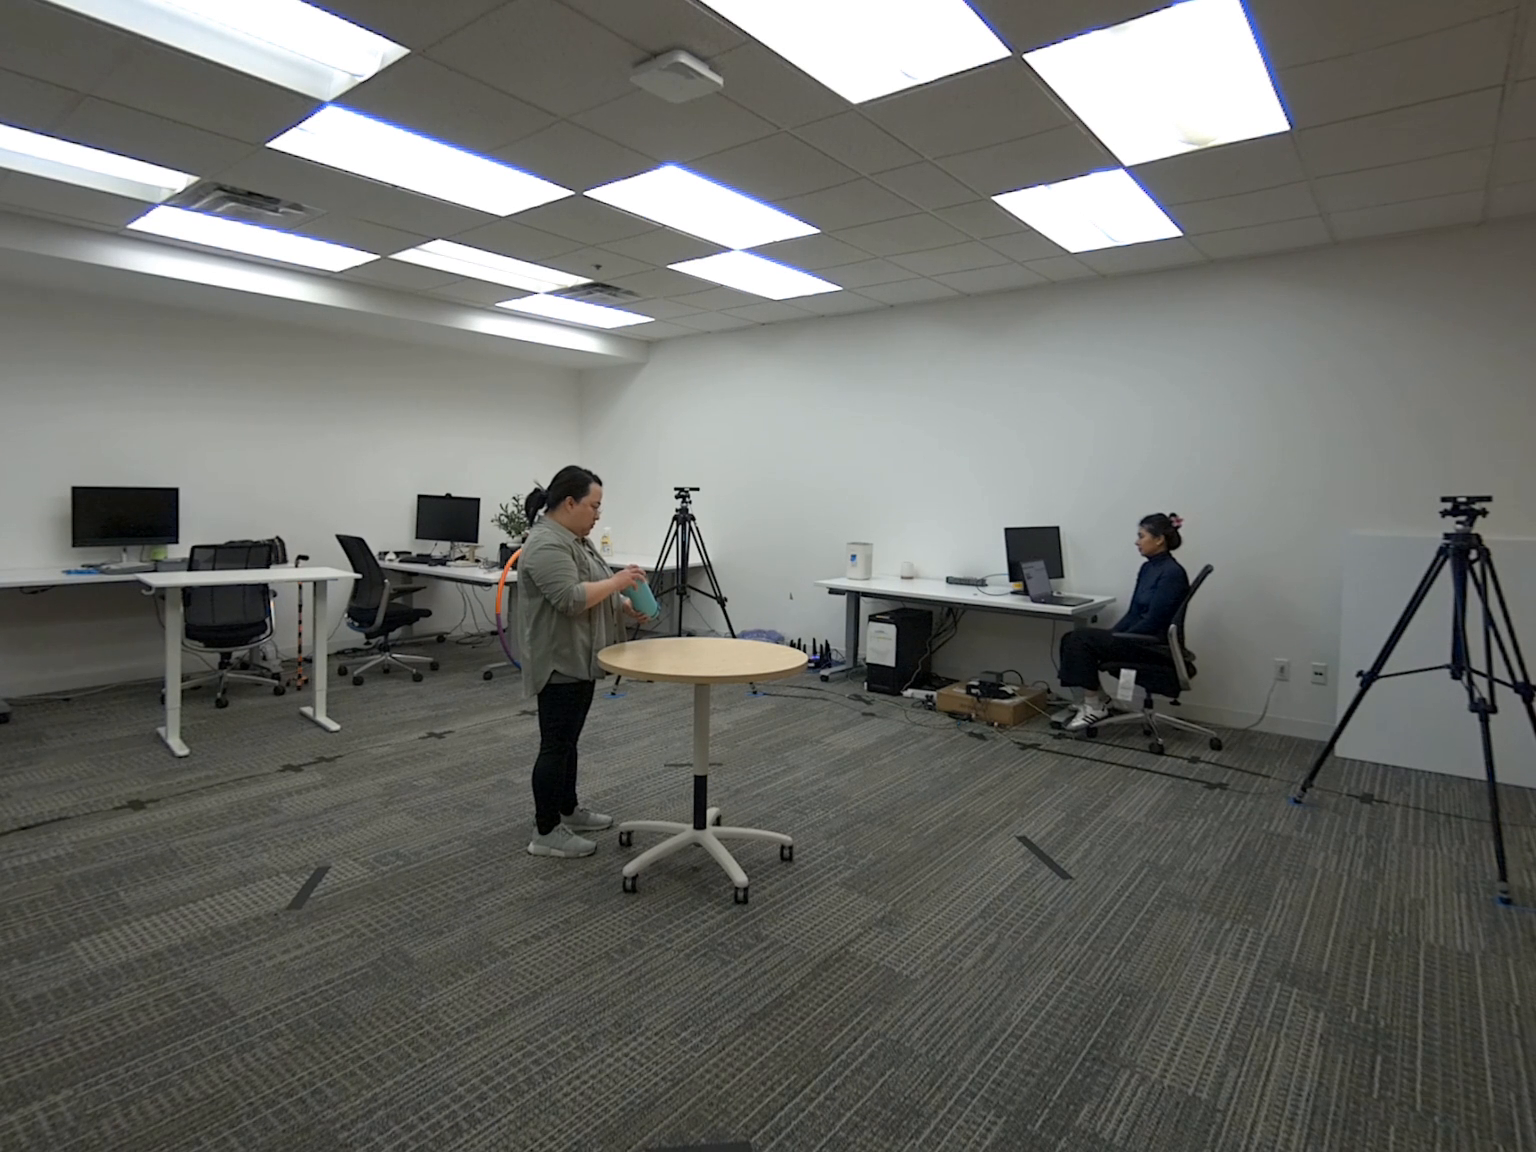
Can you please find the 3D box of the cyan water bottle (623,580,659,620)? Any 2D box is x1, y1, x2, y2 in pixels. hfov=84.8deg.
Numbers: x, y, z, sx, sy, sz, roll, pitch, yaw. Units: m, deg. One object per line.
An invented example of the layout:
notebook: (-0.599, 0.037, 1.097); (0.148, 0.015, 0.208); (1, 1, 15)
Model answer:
cyan water bottle: (-0.516, 0.082, 3.379); (0.095, 0.093, 0.272); (3, -37, 25)
